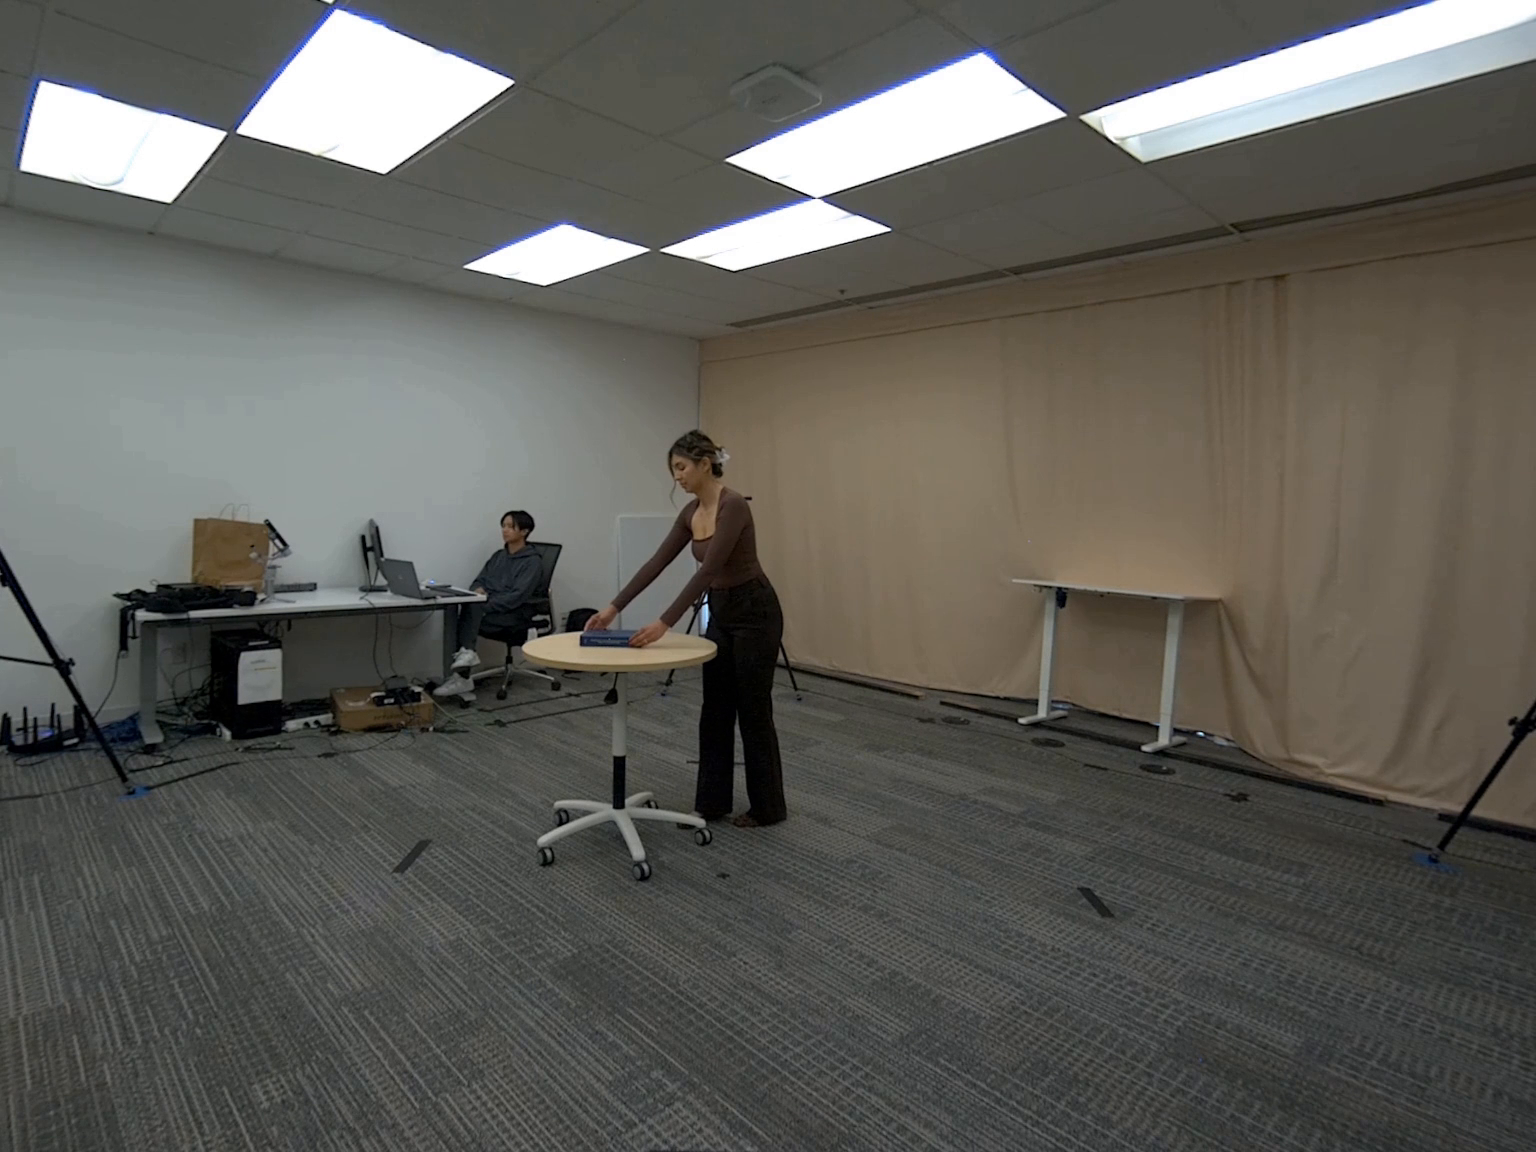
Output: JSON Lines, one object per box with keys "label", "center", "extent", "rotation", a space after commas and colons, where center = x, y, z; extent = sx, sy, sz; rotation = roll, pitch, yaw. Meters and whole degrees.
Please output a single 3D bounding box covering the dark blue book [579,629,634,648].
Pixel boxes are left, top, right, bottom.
{"label": "dark blue book", "center": [-0.629, 0.255, 3.375], "extent": [0.245, 0.045, 0.164], "rotation": [1, 5, 1]}
